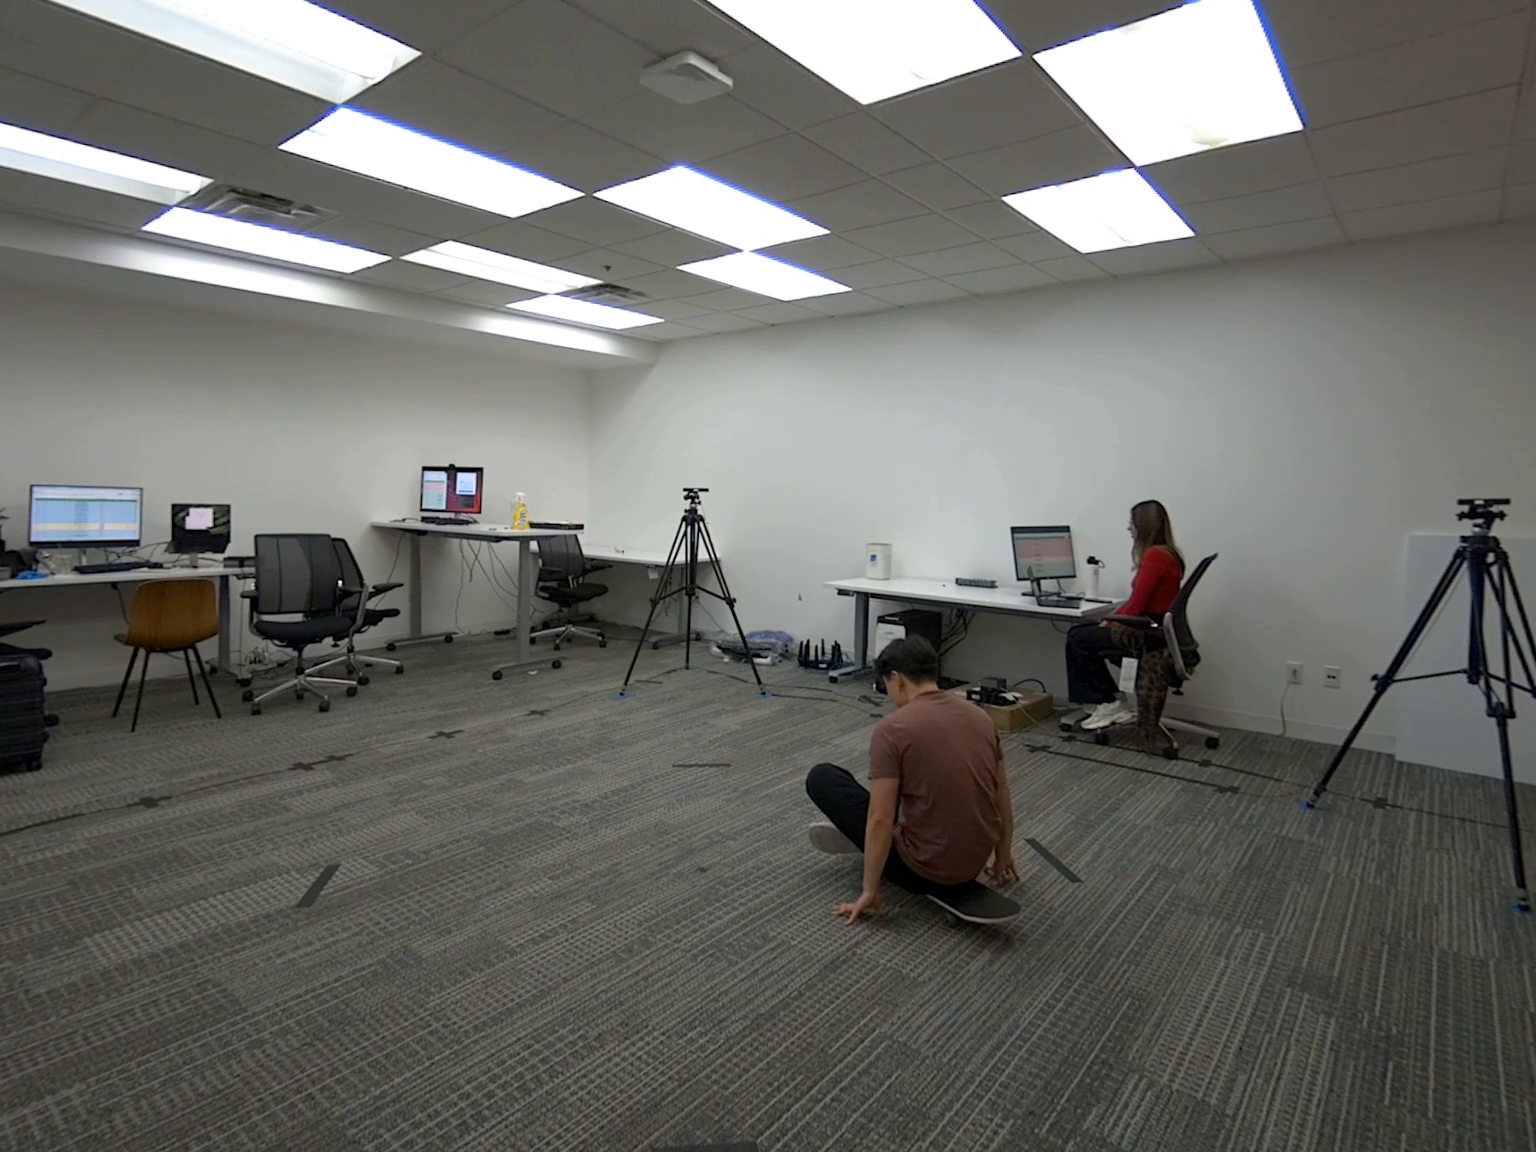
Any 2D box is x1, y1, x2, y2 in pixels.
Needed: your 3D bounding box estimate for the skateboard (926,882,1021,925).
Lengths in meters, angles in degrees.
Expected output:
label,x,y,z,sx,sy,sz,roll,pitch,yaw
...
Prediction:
label,x,y,z,sx,sy,sz,roll,pitch,yaw
skateboard,0.541,1.047,2.941,0.189,0.109,0.811,-8,10,-31
